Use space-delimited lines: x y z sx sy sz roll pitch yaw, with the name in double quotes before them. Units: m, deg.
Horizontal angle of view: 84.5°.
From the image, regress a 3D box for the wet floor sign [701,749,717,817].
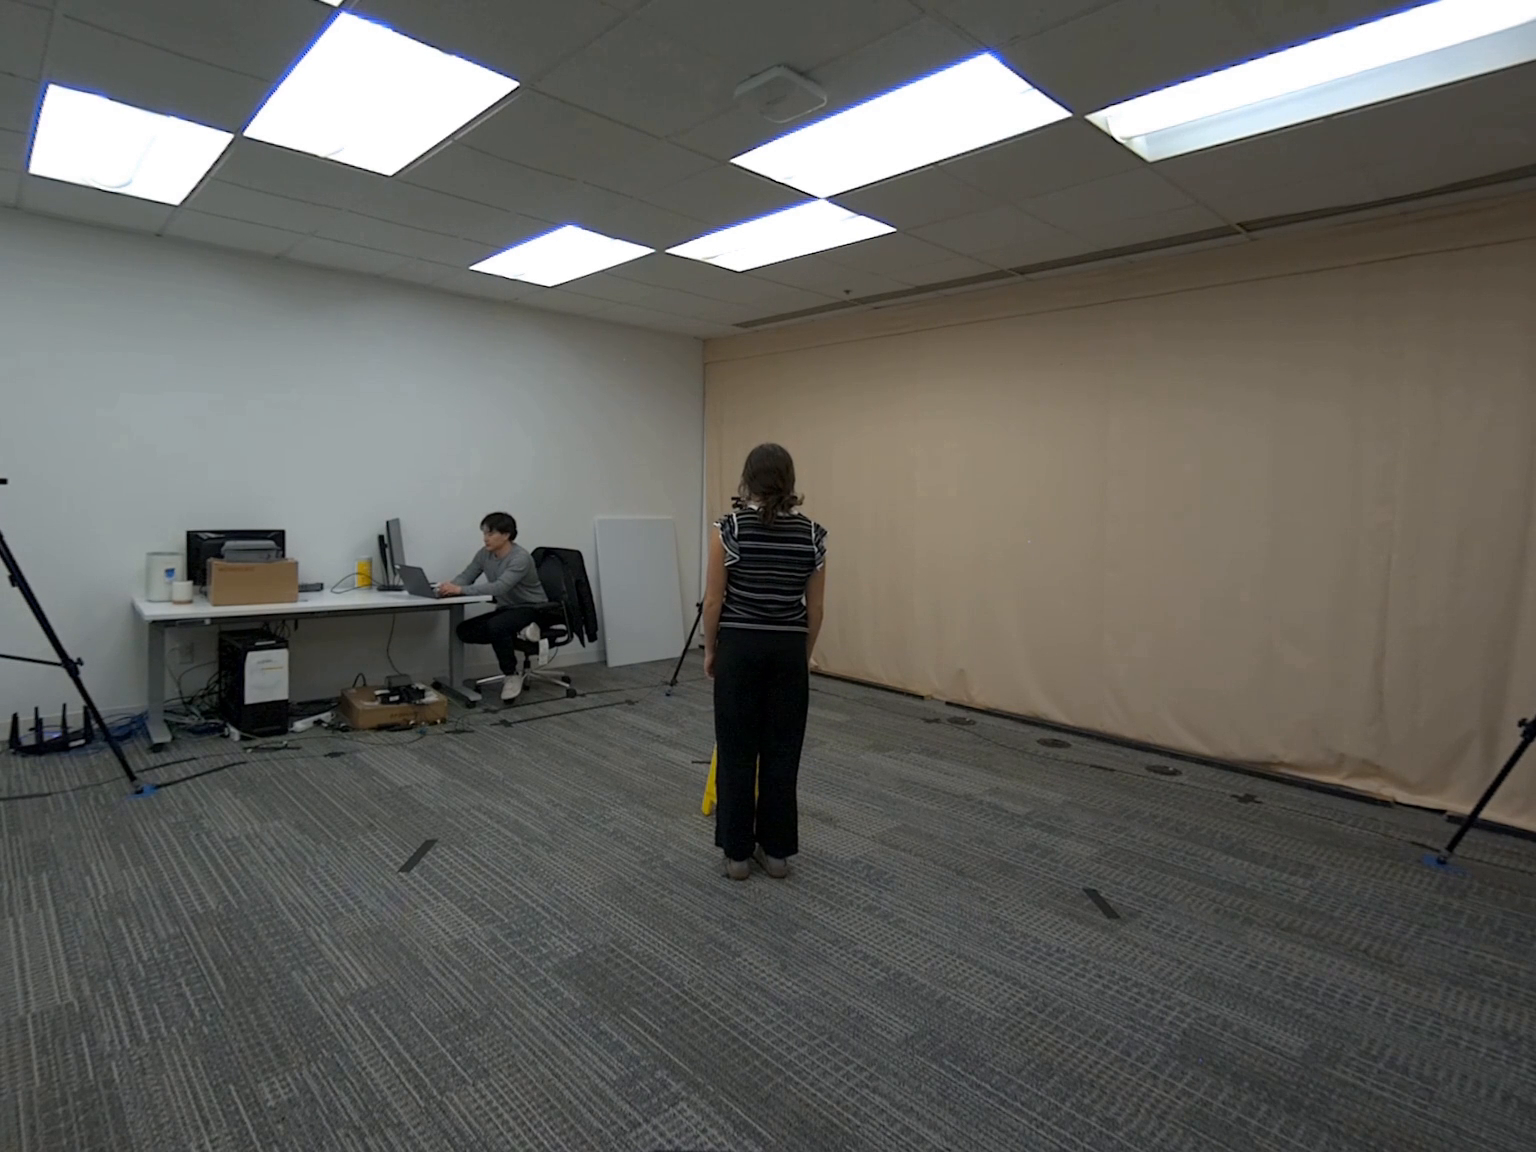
"wet floor sign" -0.126 0.737 3.668 0.285 0.645 0.287 1 3 -21
